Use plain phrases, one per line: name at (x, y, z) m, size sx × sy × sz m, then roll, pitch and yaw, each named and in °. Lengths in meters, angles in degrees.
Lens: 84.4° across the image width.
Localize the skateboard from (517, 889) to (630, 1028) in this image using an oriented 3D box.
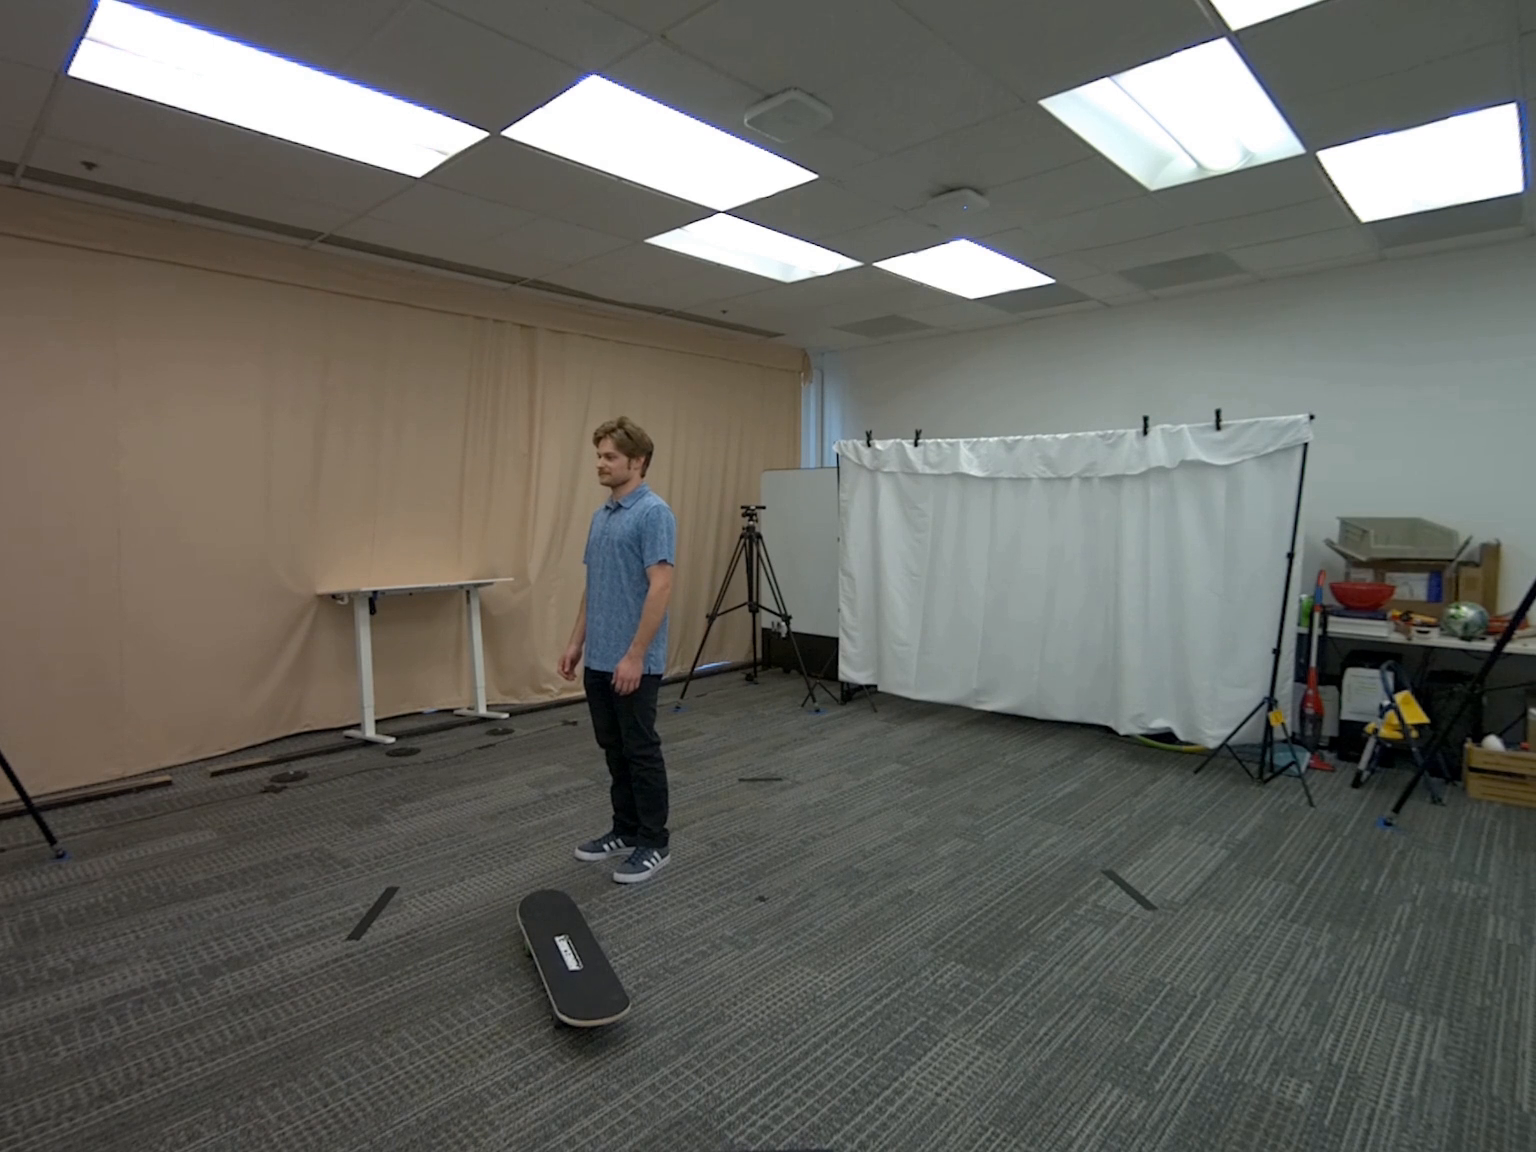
skateboard at (-0.586, 1.133, 2.466) m, size 0.189 × 0.110 × 0.806 m, roll -2°, pitch 5°, yaw -25°
